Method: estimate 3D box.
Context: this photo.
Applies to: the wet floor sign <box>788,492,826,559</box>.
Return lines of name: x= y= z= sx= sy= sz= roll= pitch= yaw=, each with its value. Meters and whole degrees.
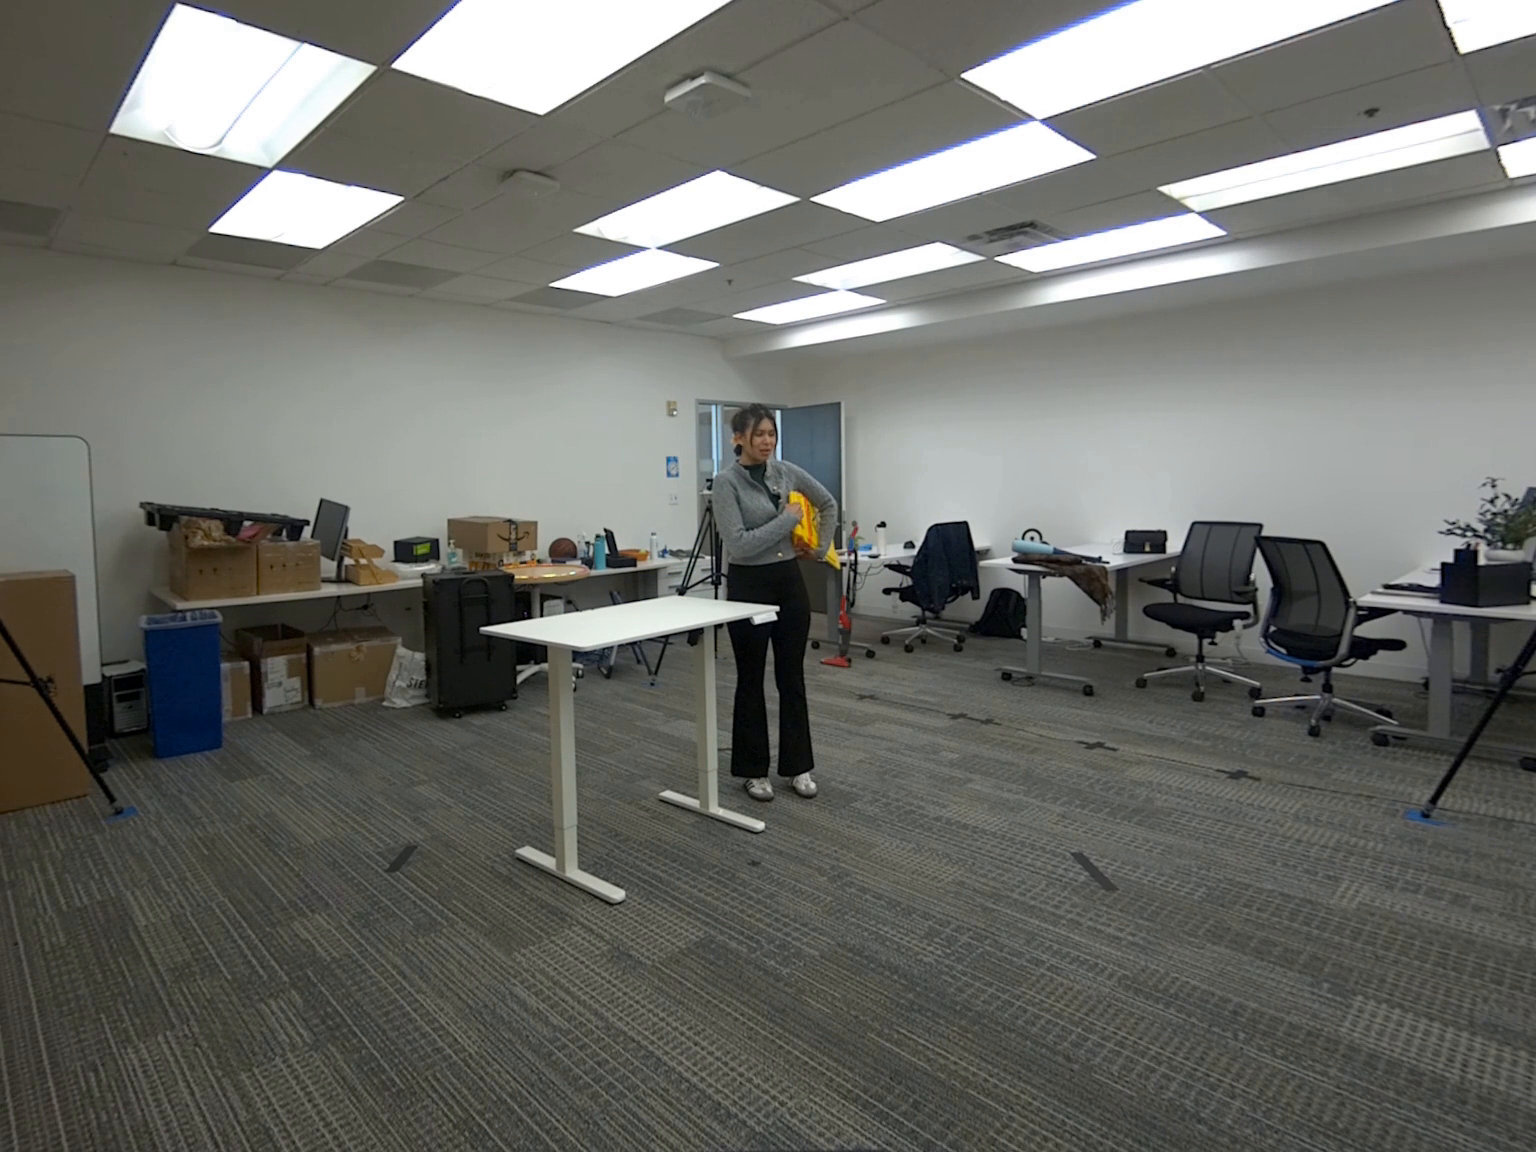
wet floor sign: x=0.171 y=-0.209 z=3.997 sx=0.291 sy=0.286 sz=0.633 roll=-8 pitch=-13 yaw=6
